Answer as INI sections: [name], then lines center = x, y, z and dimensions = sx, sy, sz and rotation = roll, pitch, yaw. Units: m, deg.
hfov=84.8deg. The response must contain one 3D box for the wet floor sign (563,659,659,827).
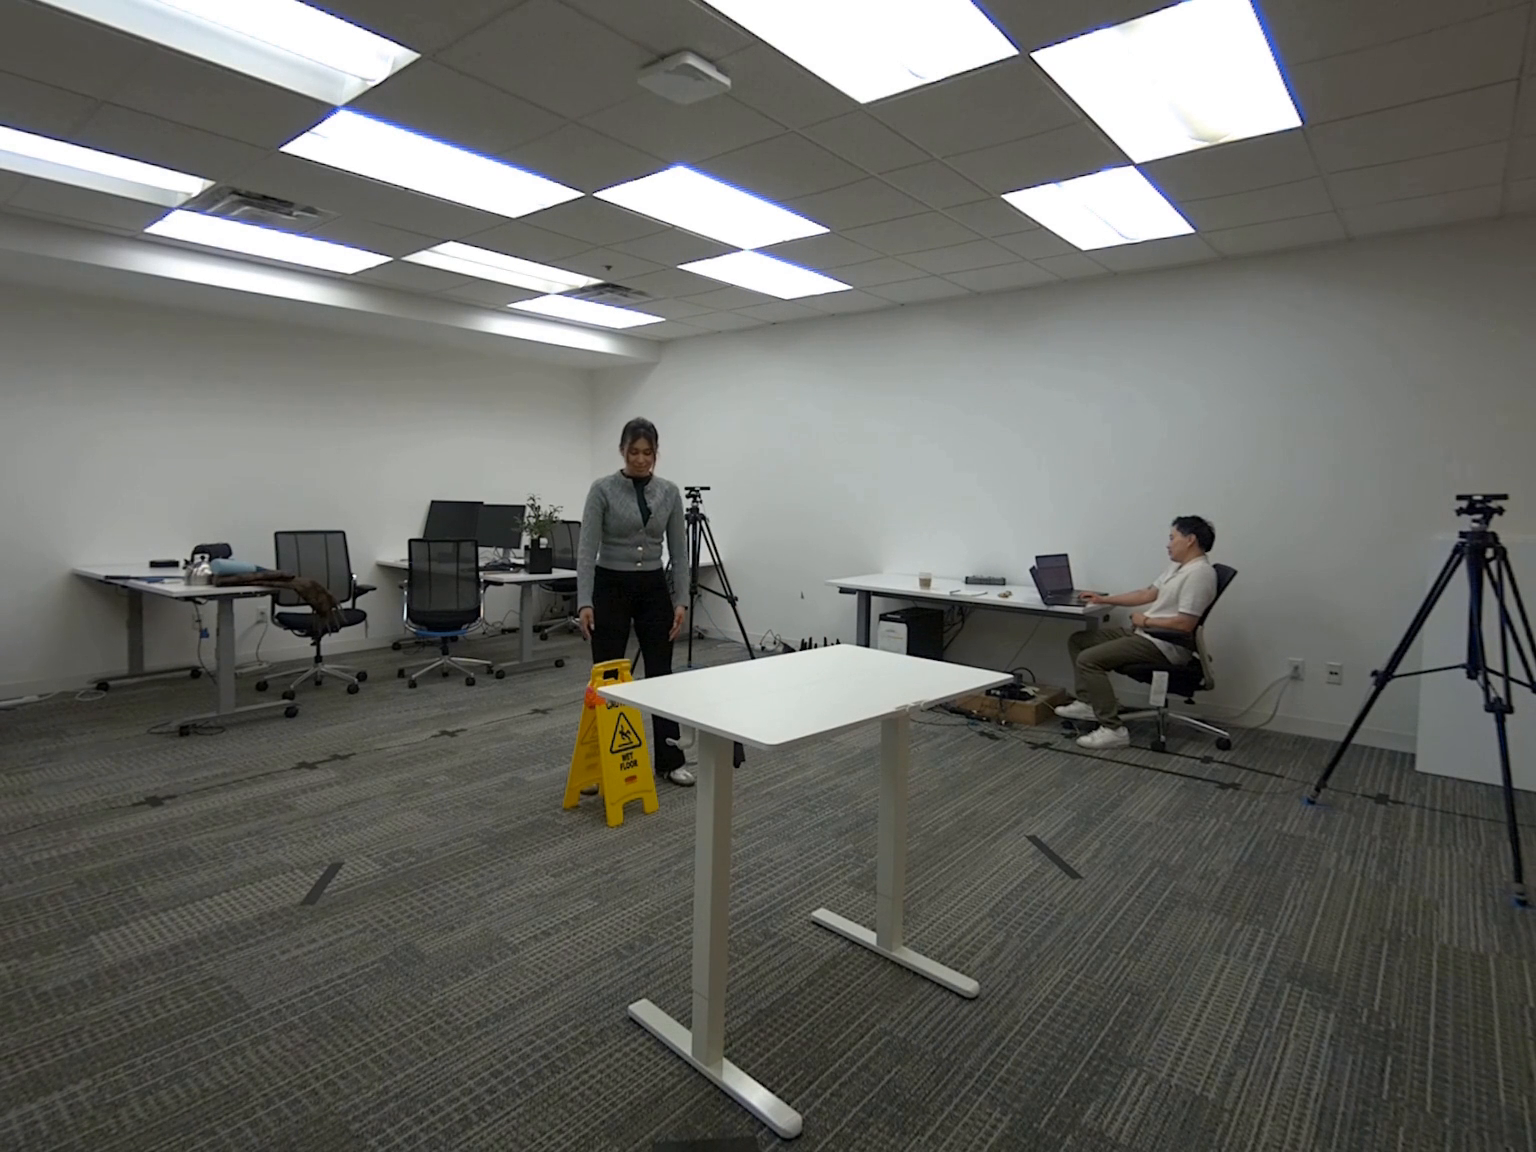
[wet floor sign]
center = -0.690, 0.684, 3.657
dimensions = 0.299, 0.644, 0.274
rotation = 3, 4, 41
